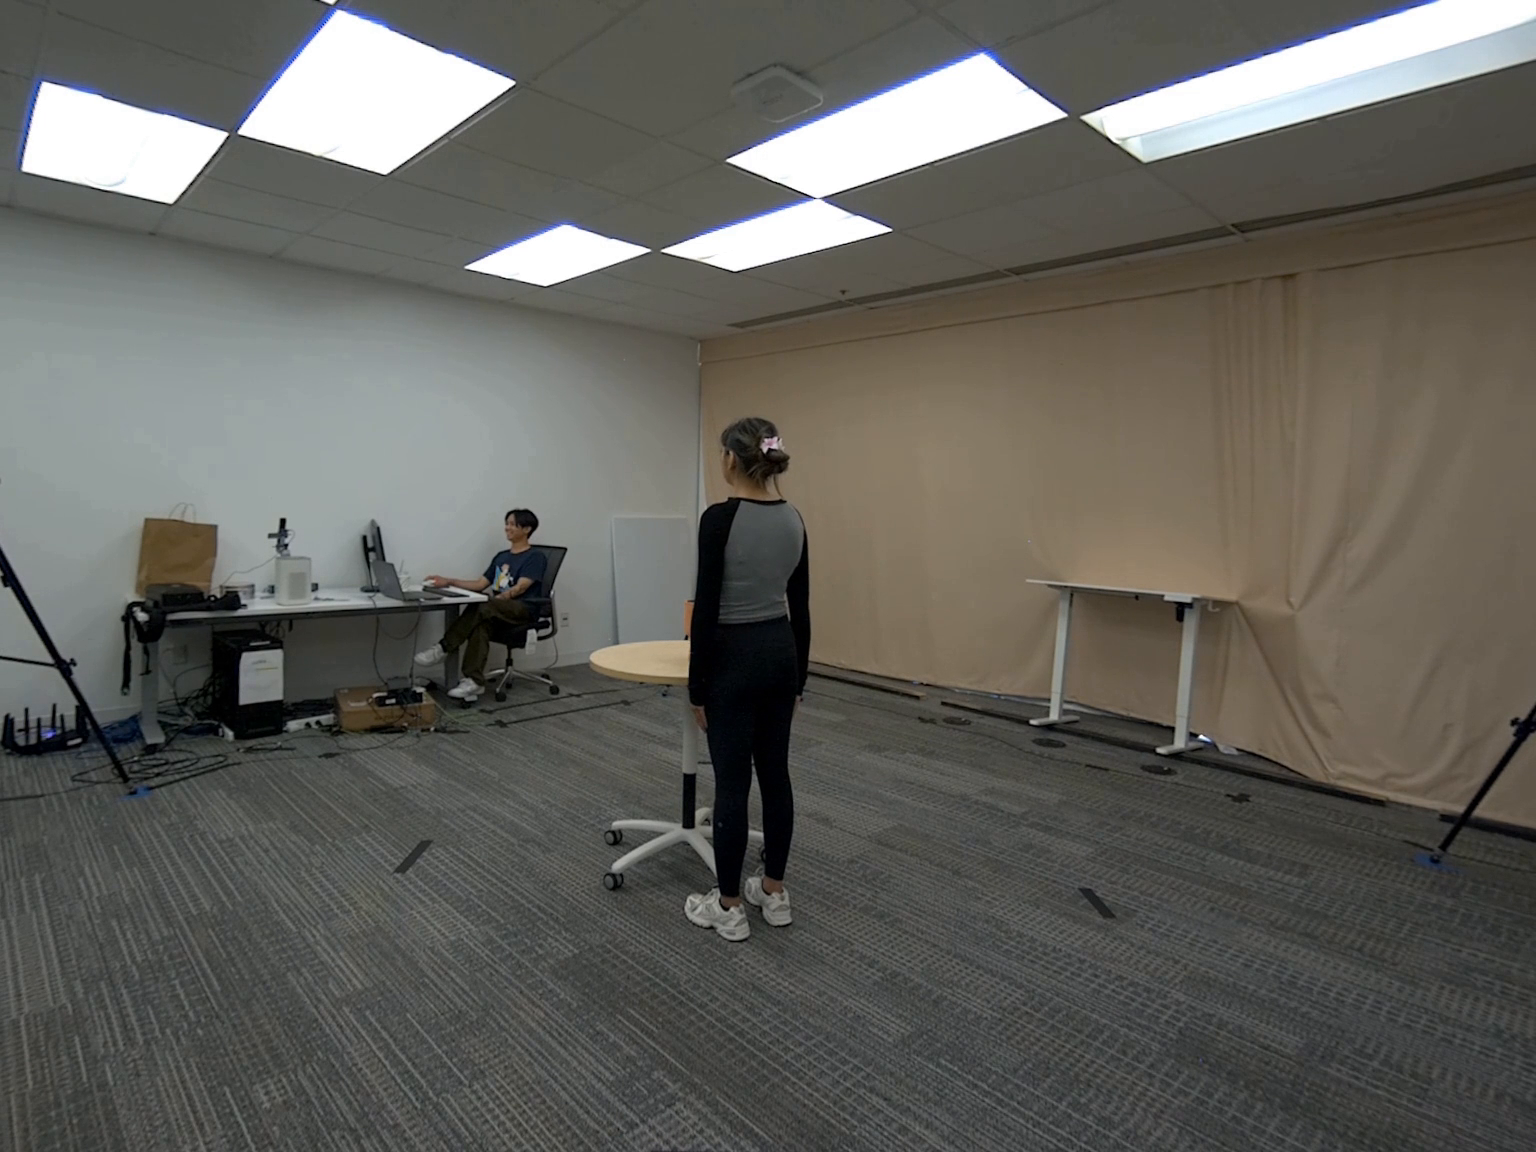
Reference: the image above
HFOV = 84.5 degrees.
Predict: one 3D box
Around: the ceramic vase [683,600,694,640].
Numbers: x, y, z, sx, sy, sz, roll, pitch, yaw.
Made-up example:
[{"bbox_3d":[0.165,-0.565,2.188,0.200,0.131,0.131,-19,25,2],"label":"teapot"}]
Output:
[{"bbox_3d":[-0.250,0.209,3.083,0.138,0.219,0.155,5,4,42],"label":"ceramic vase"}]
